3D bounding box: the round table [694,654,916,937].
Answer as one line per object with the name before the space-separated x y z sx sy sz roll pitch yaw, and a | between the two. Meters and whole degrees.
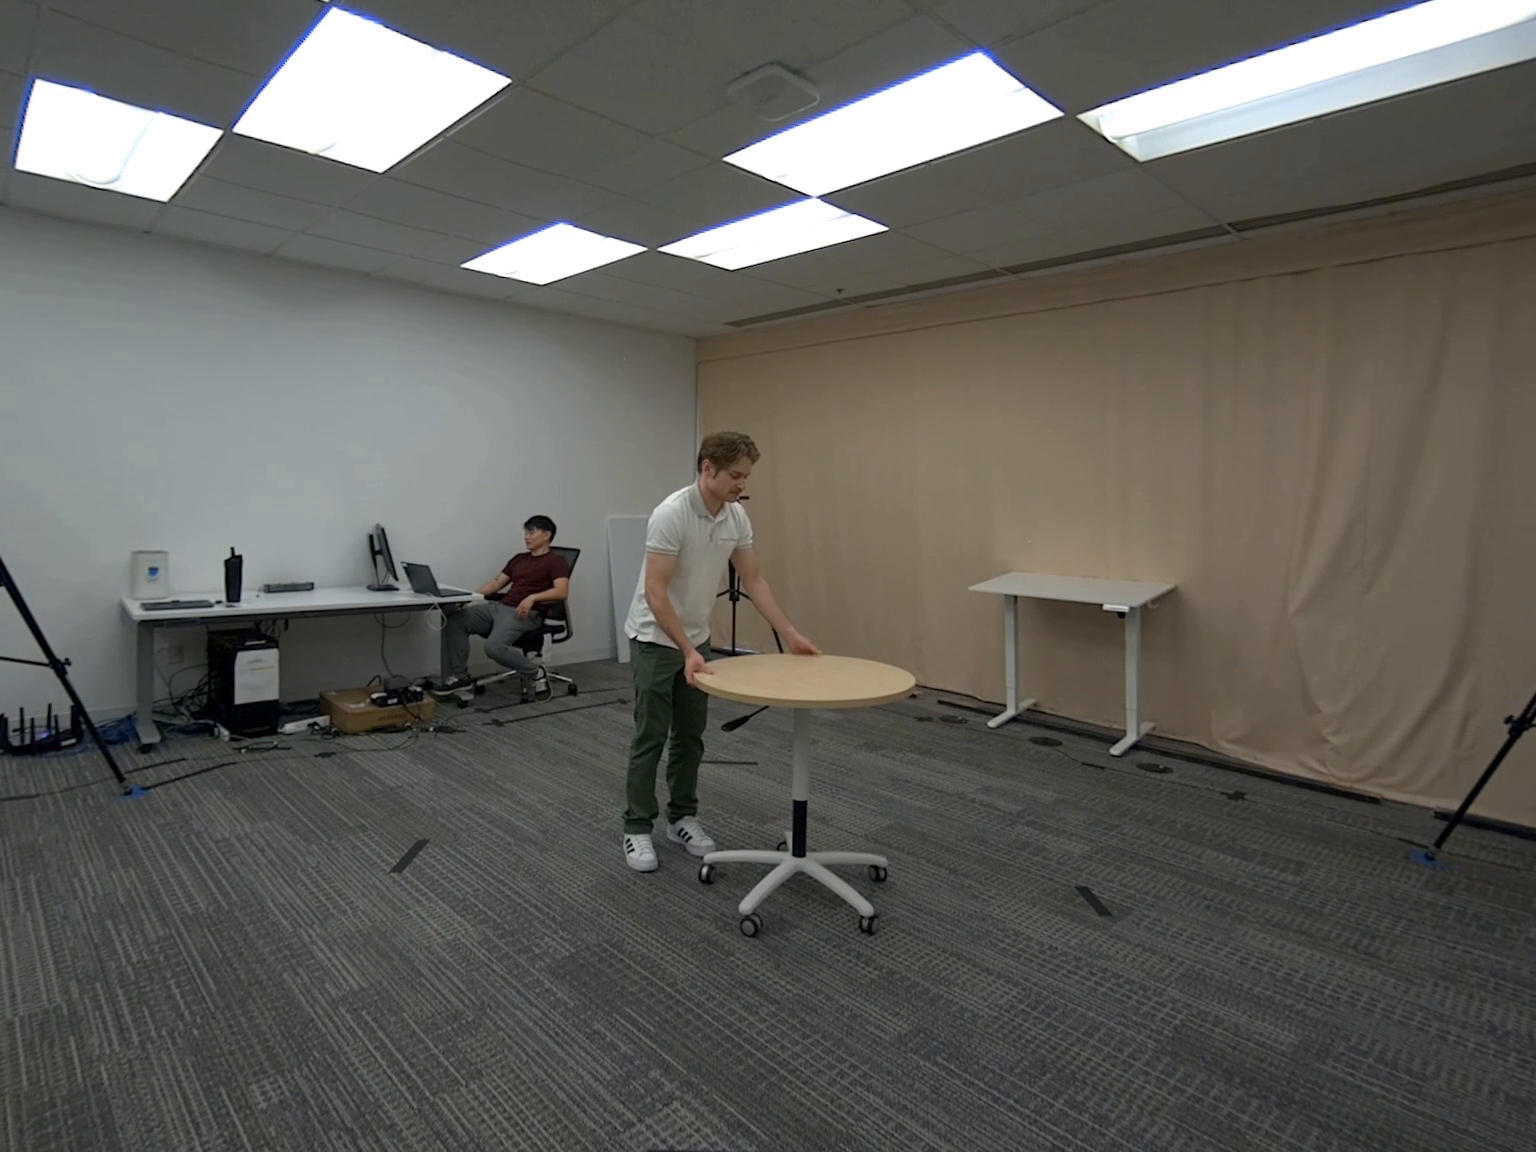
round table | 0.110 0.736 2.943 0.763 0.792 0.767 1 4 -1
